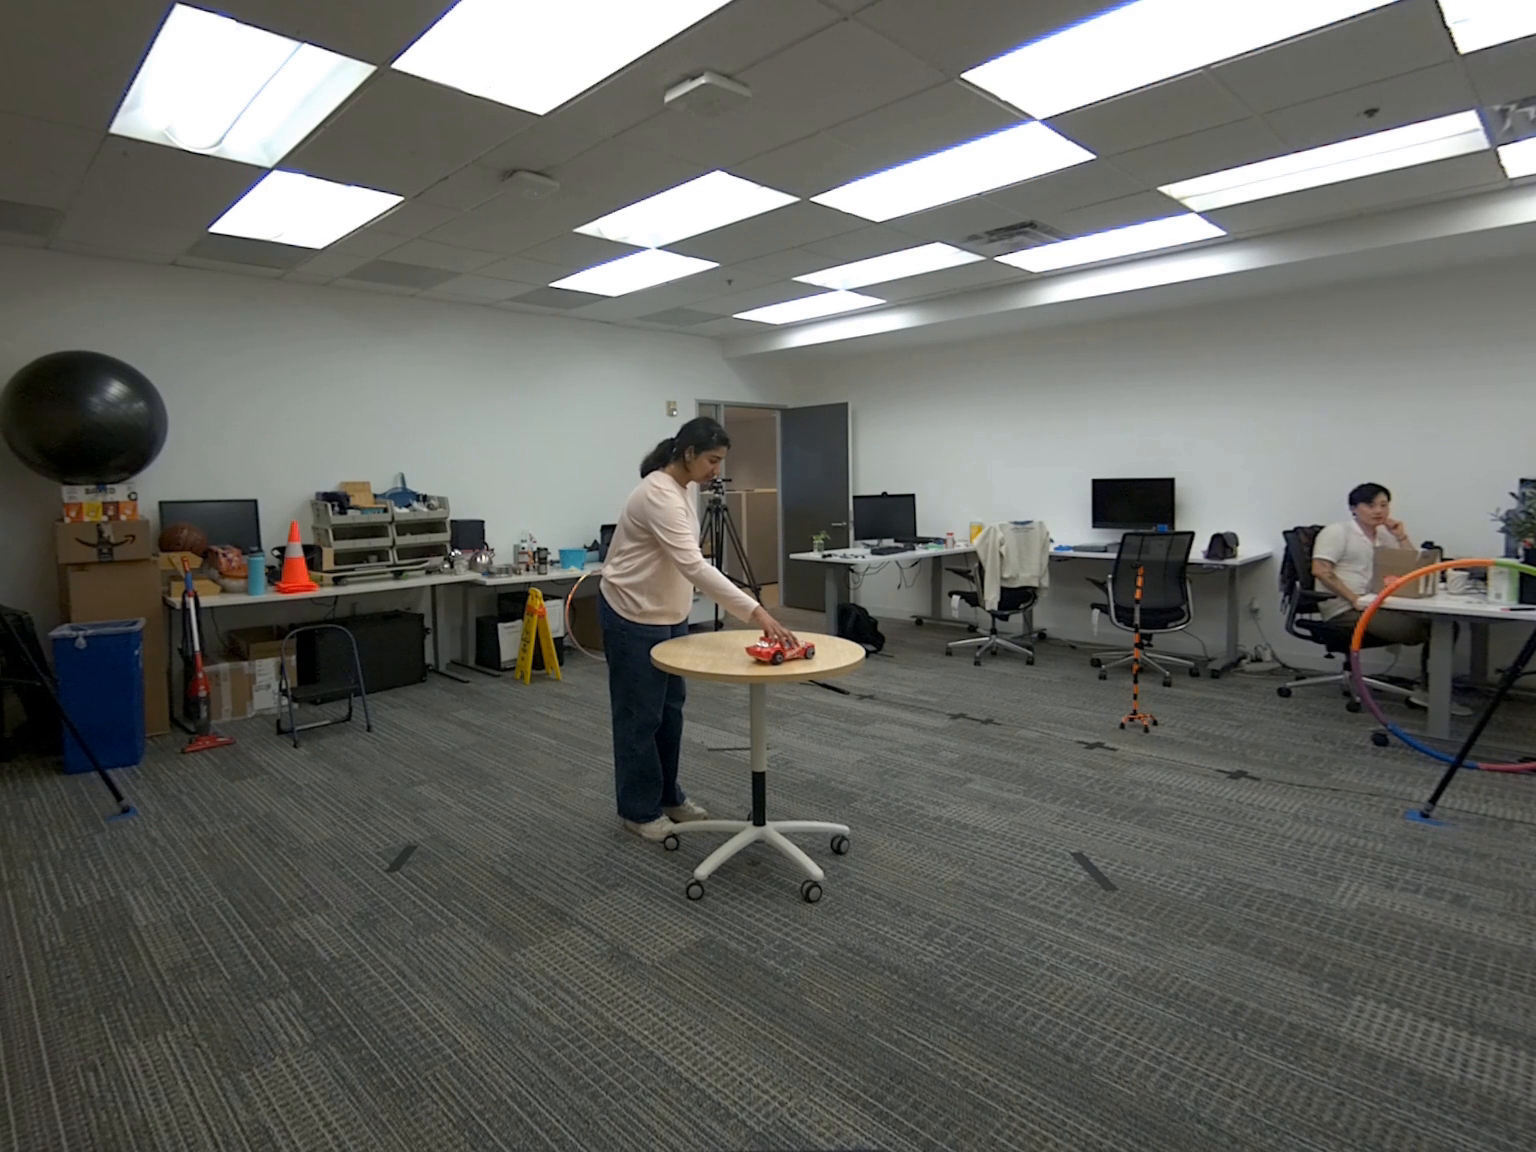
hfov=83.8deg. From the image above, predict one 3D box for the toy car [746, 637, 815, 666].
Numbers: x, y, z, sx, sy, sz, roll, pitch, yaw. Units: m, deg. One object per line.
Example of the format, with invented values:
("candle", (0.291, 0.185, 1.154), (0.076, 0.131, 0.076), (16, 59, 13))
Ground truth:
("toy car", (0.044, 0.255, 2.889), (0.246, 0.083, 0.134), (8, -1, -38))
